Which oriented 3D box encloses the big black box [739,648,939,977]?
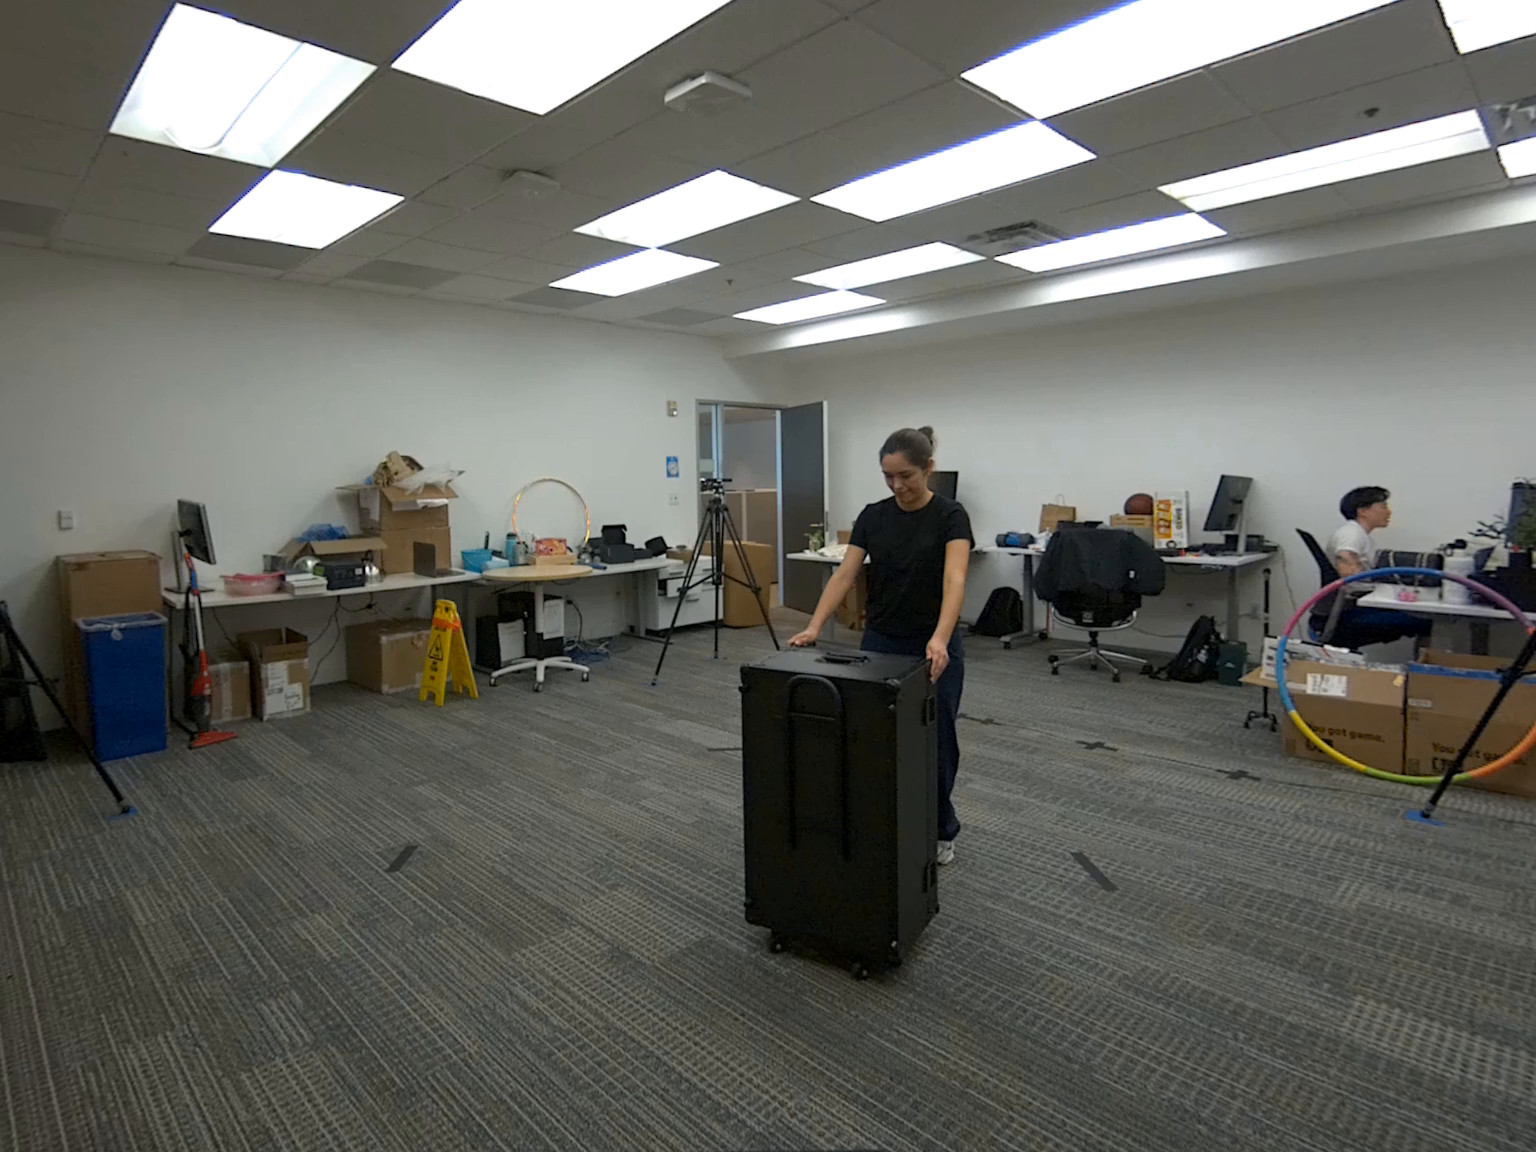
[{"bbox_3d":[0.220,0.673,2.560,0.535,0.858,0.387,2,5,31],"label":"big black box"}]
